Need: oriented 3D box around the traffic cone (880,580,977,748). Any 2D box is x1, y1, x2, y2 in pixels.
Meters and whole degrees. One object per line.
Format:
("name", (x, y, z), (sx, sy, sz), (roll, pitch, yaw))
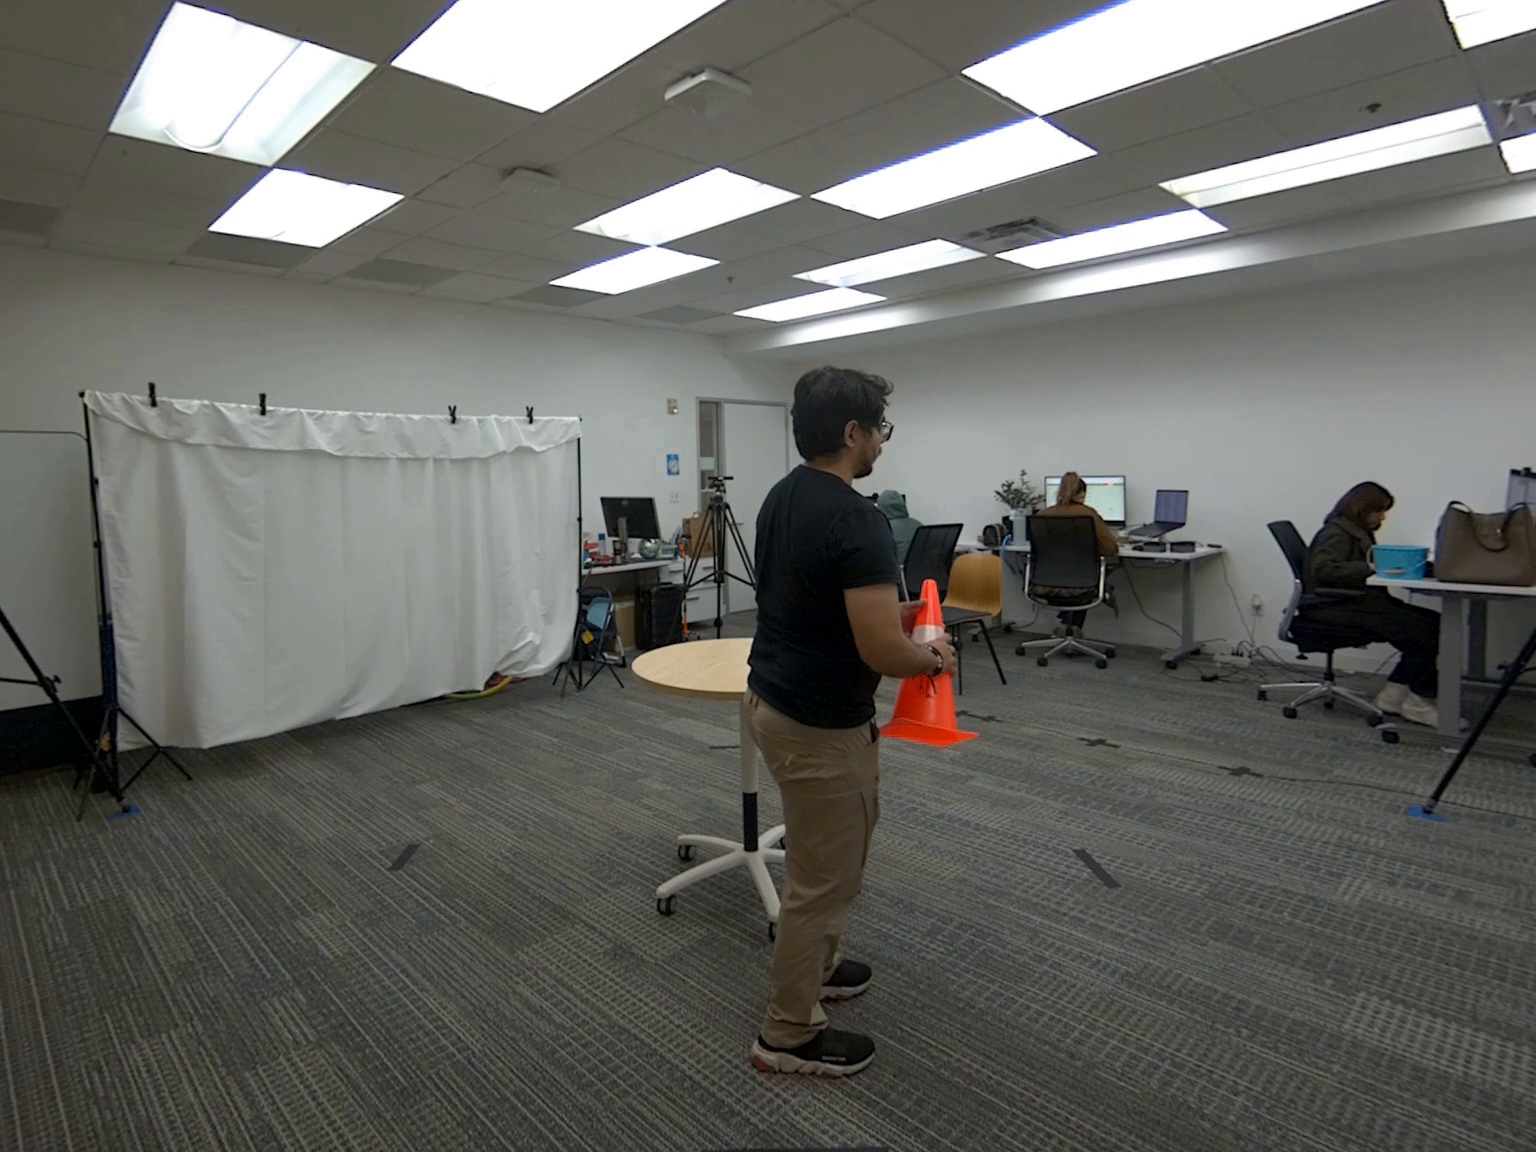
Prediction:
("traffic cone", (0.392, 0.195, 2.065), (0.203, 0.389, 0.202), (12, -21, -8))
